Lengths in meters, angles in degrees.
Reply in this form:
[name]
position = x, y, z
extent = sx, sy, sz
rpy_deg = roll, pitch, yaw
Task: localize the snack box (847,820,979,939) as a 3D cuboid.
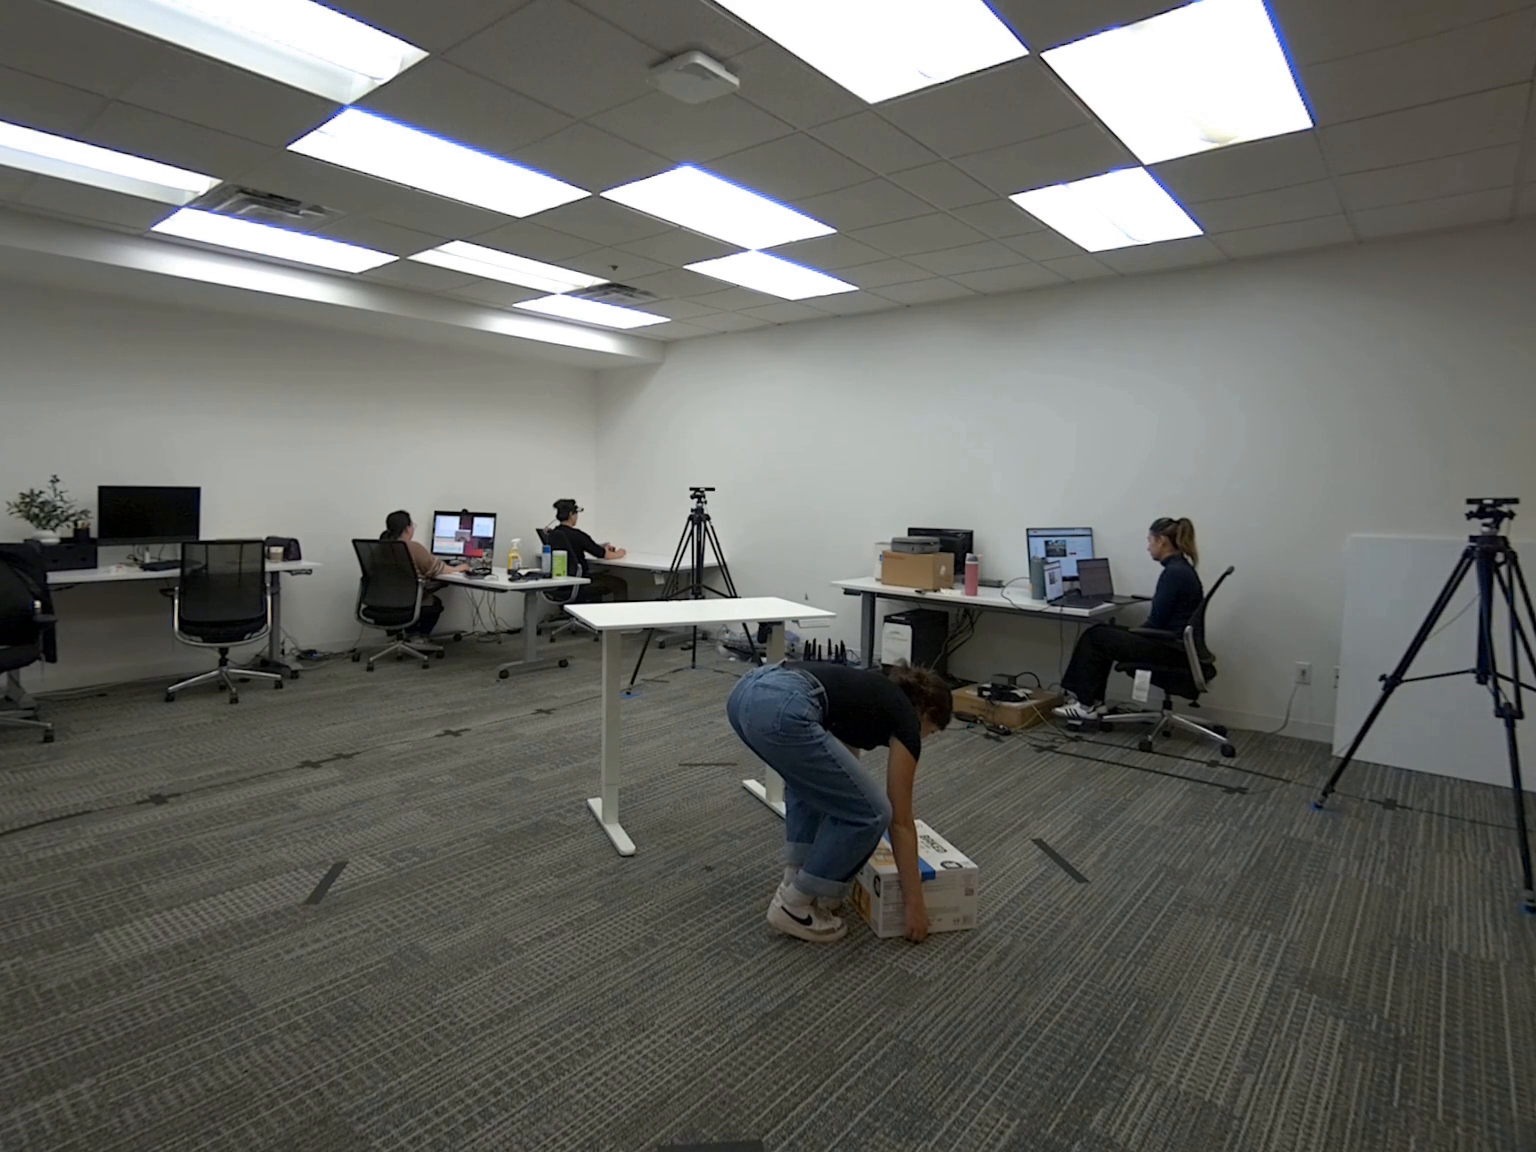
[snack box]
position = 0.446, 1.005, 2.866
extent = 0.335, 0.205, 0.413
rpy_deg = 0, 6, -16
